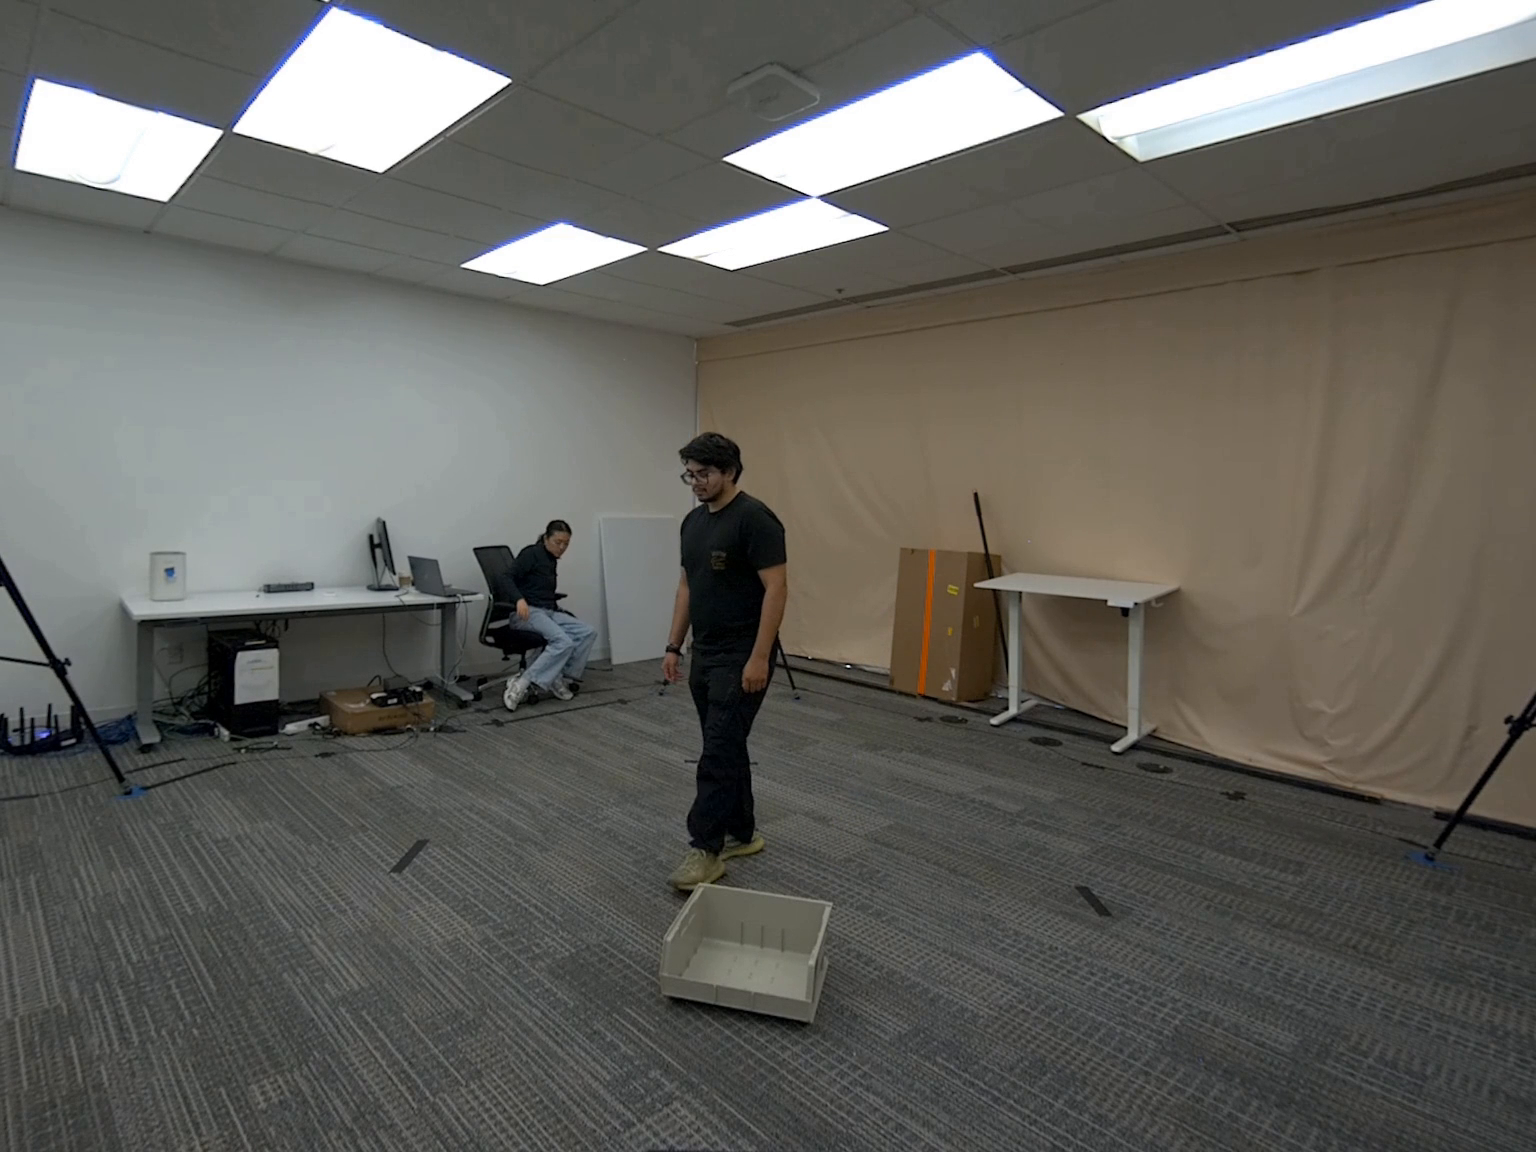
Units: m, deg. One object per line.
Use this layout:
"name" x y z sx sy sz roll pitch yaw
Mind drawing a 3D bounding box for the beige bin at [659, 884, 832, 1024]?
"beige bin" -0.052 1.085 2.410 0.427 0.188 0.374 2 4 13
